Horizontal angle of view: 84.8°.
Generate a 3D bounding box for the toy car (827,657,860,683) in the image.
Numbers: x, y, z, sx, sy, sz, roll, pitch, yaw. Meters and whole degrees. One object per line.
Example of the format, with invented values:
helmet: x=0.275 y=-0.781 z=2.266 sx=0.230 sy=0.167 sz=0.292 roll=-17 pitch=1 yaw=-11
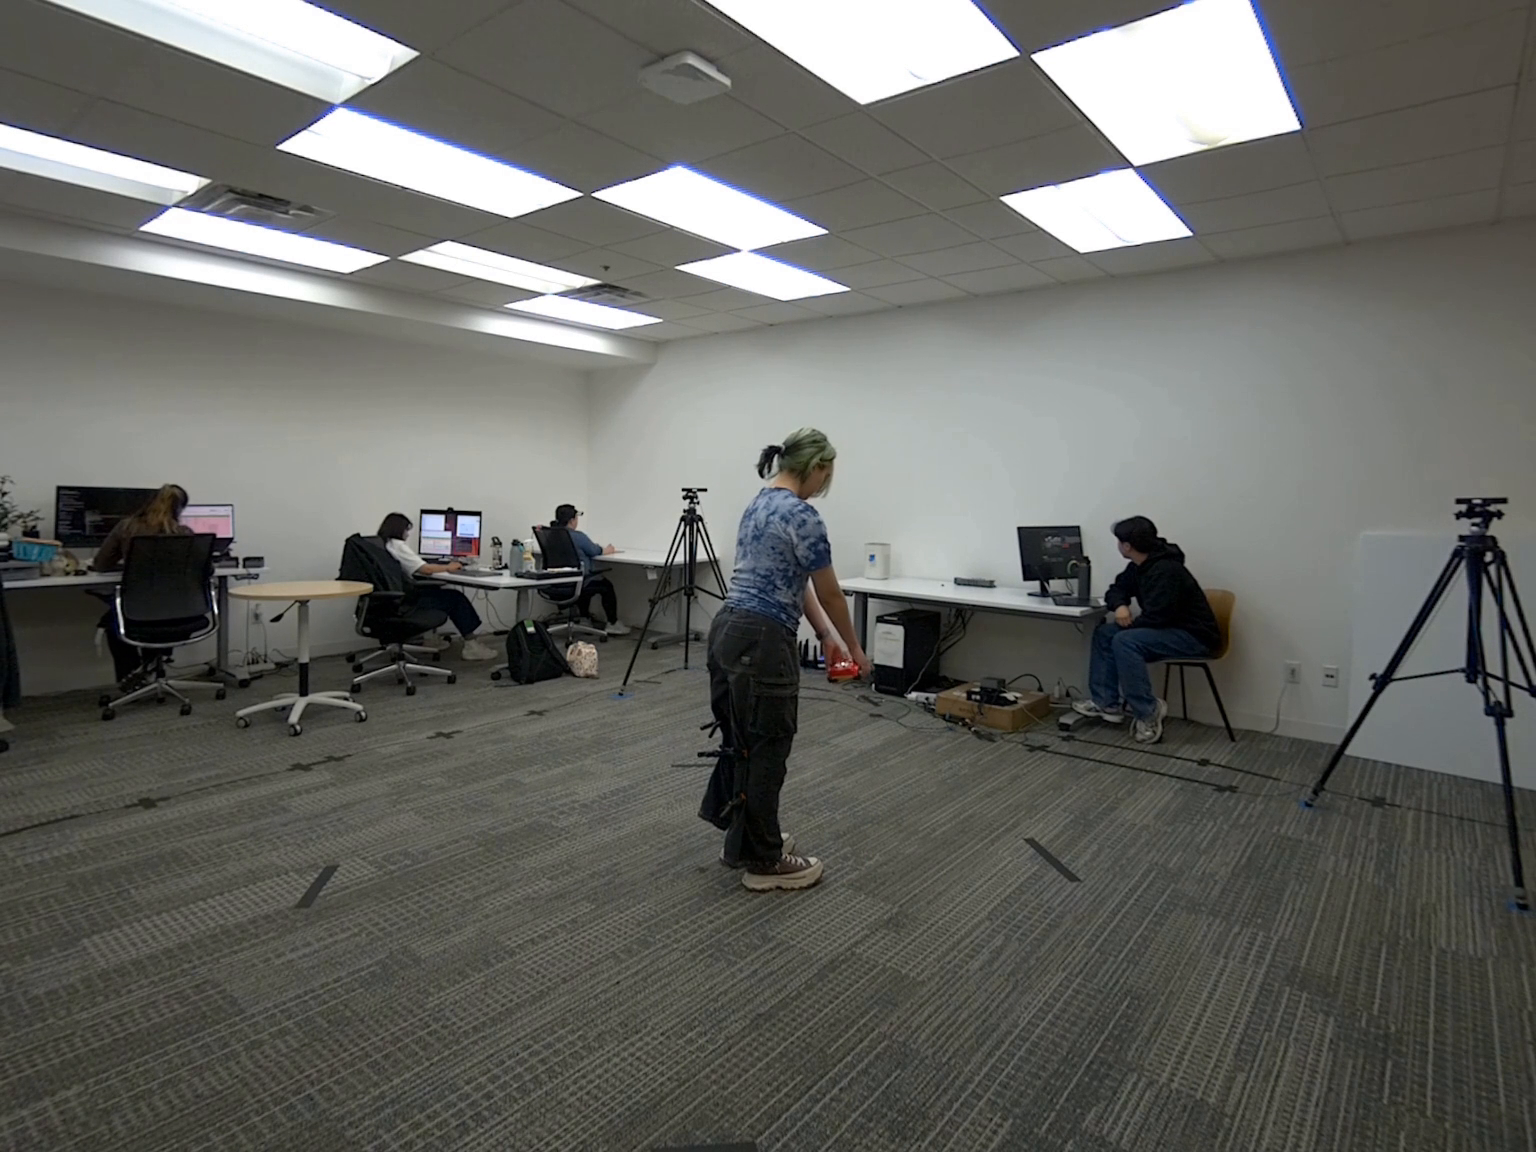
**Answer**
toy car: x=0.278 y=0.353 z=3.113 sx=0.132 sy=0.084 sz=0.248 roll=-7 pitch=-12 yaw=11
